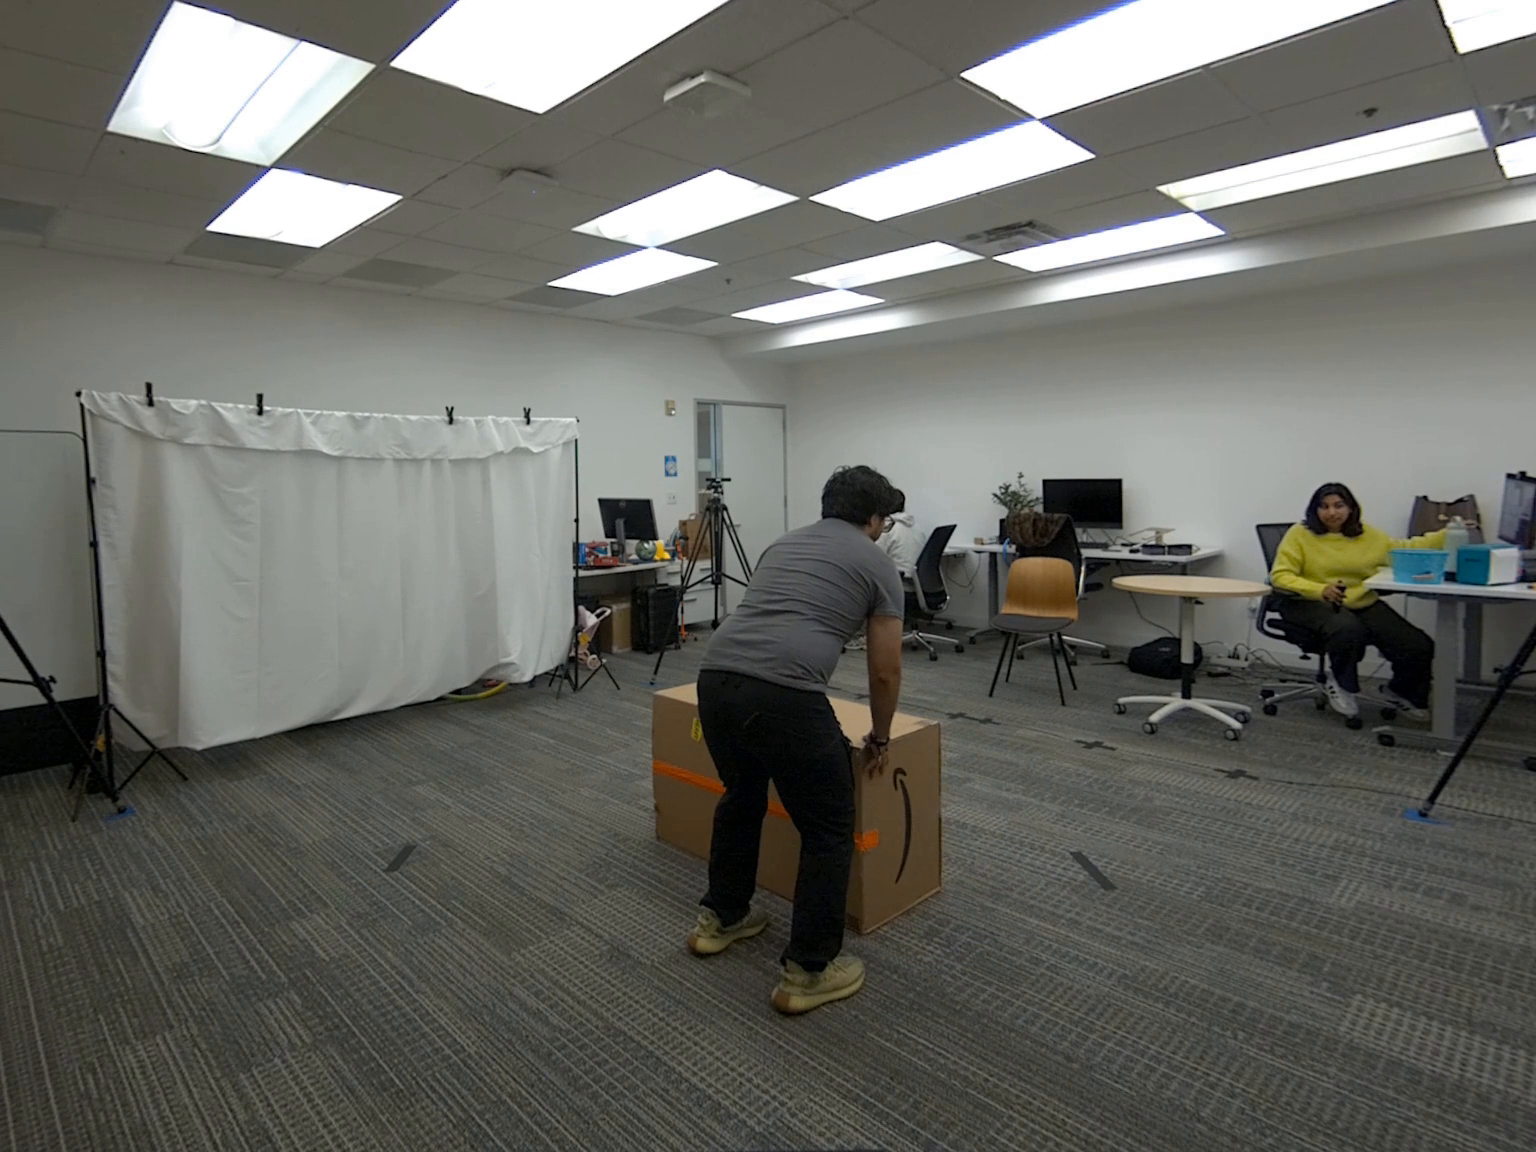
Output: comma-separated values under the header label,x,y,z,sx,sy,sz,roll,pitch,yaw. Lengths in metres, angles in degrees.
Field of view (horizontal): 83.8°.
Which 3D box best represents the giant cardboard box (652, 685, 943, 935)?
label,x,y,z,sx,sy,sz,roll,pitch,yaw
giant cardboard box,0.068,0.756,3.095,0.415,0.575,1.058,-5,7,-44
